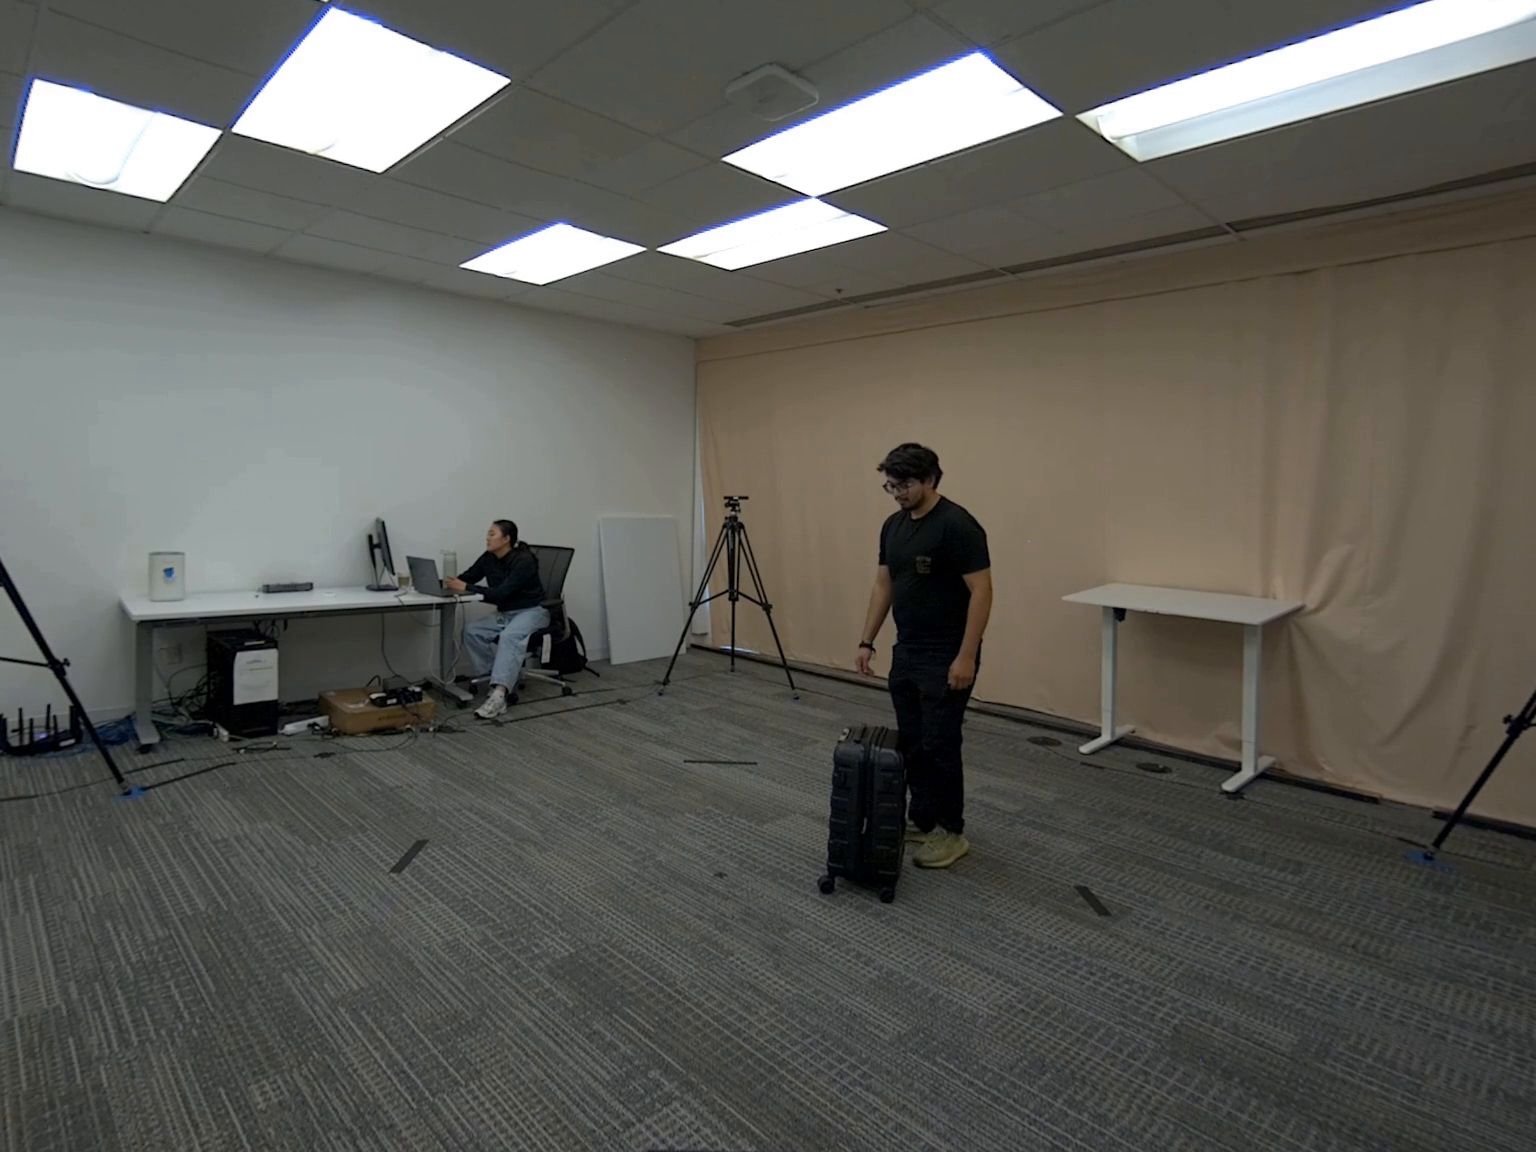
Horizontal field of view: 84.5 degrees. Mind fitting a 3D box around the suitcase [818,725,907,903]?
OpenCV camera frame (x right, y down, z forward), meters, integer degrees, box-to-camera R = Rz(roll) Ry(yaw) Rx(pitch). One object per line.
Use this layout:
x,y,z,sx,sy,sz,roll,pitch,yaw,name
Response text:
0.365,0.841,3.087,0.251,0.548,0.372,4,4,14,suitcase
